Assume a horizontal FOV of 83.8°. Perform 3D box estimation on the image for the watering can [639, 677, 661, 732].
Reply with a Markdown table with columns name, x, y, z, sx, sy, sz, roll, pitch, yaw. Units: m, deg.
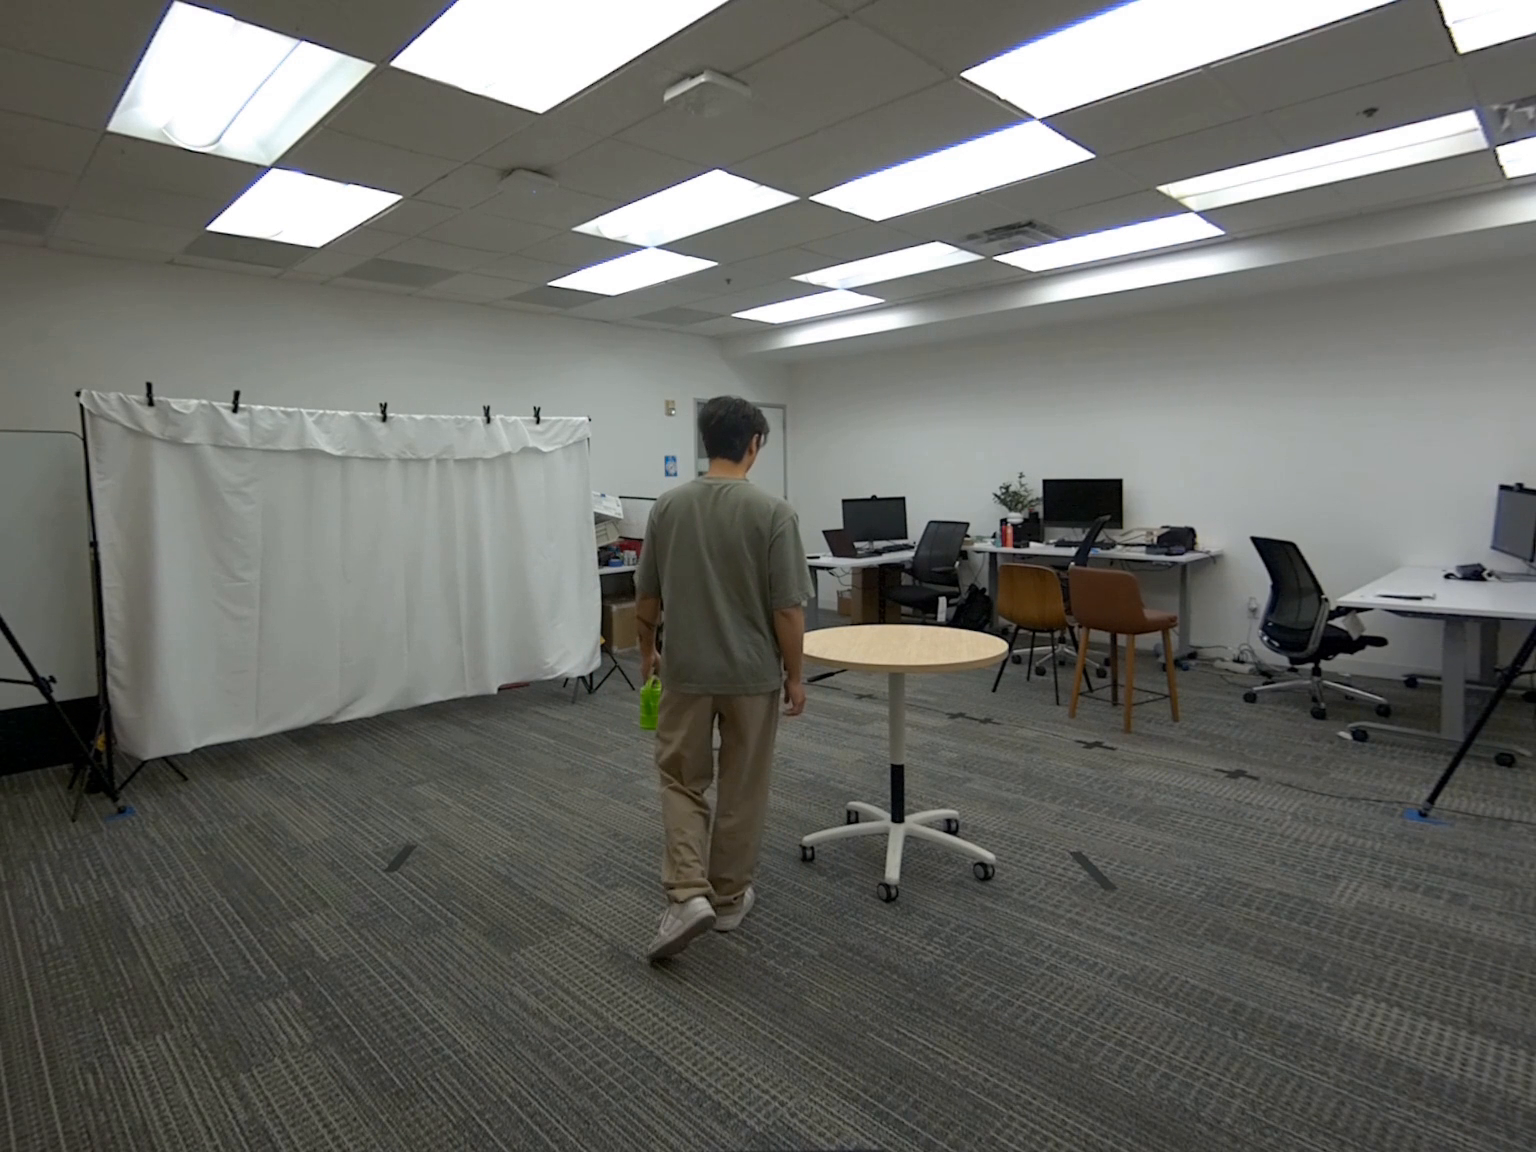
| name | x | y | z | sx | sy | sz | roll | pitch | yaw |
| --- | --- | --- | --- | --- | --- | --- | --- | --- | --- |
| watering can | -0.366 | 0.422 | 2.942 | 0.099 | 0.177 | 0.274 | 1 | 0 | 12 |
